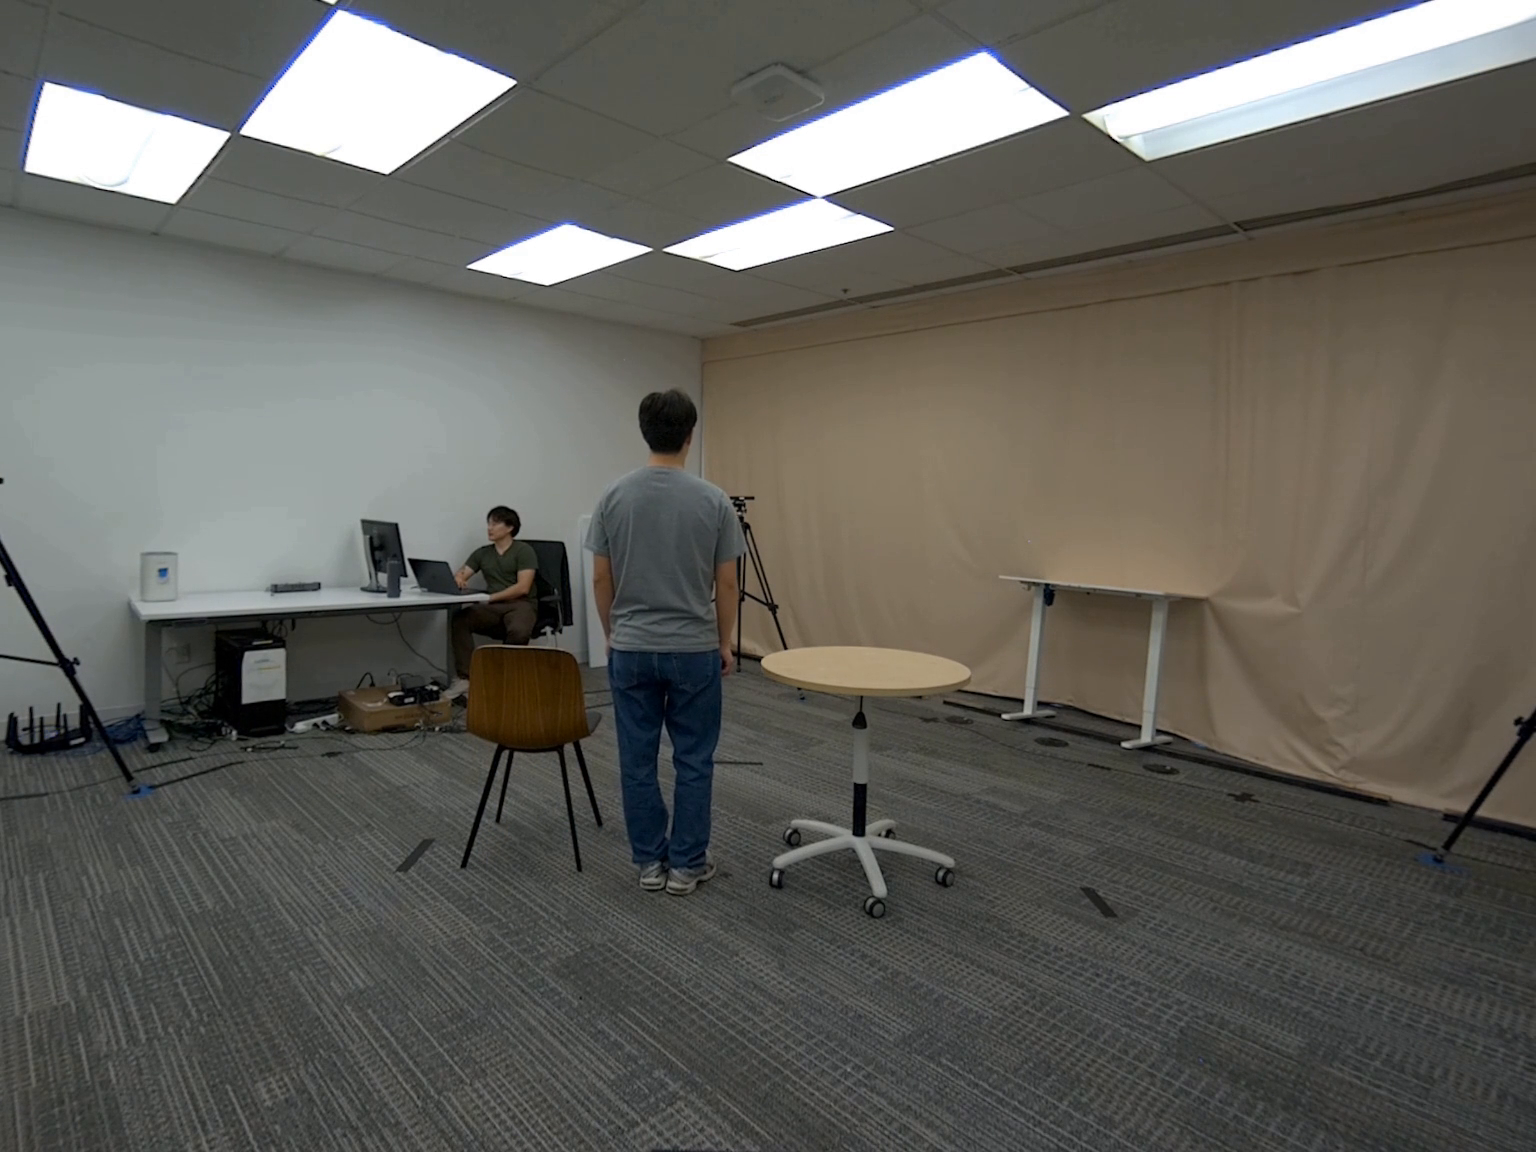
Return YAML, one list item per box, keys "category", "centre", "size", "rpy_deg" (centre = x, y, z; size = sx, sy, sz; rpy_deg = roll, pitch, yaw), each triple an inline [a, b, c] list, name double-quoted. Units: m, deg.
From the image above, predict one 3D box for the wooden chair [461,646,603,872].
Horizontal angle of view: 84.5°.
- category: "wooden chair"
  centre: [-0.907, 0.638, 3.307]
  size: [0.478, 0.873, 0.526]
  rpy_deg: [1, 7, 0]
